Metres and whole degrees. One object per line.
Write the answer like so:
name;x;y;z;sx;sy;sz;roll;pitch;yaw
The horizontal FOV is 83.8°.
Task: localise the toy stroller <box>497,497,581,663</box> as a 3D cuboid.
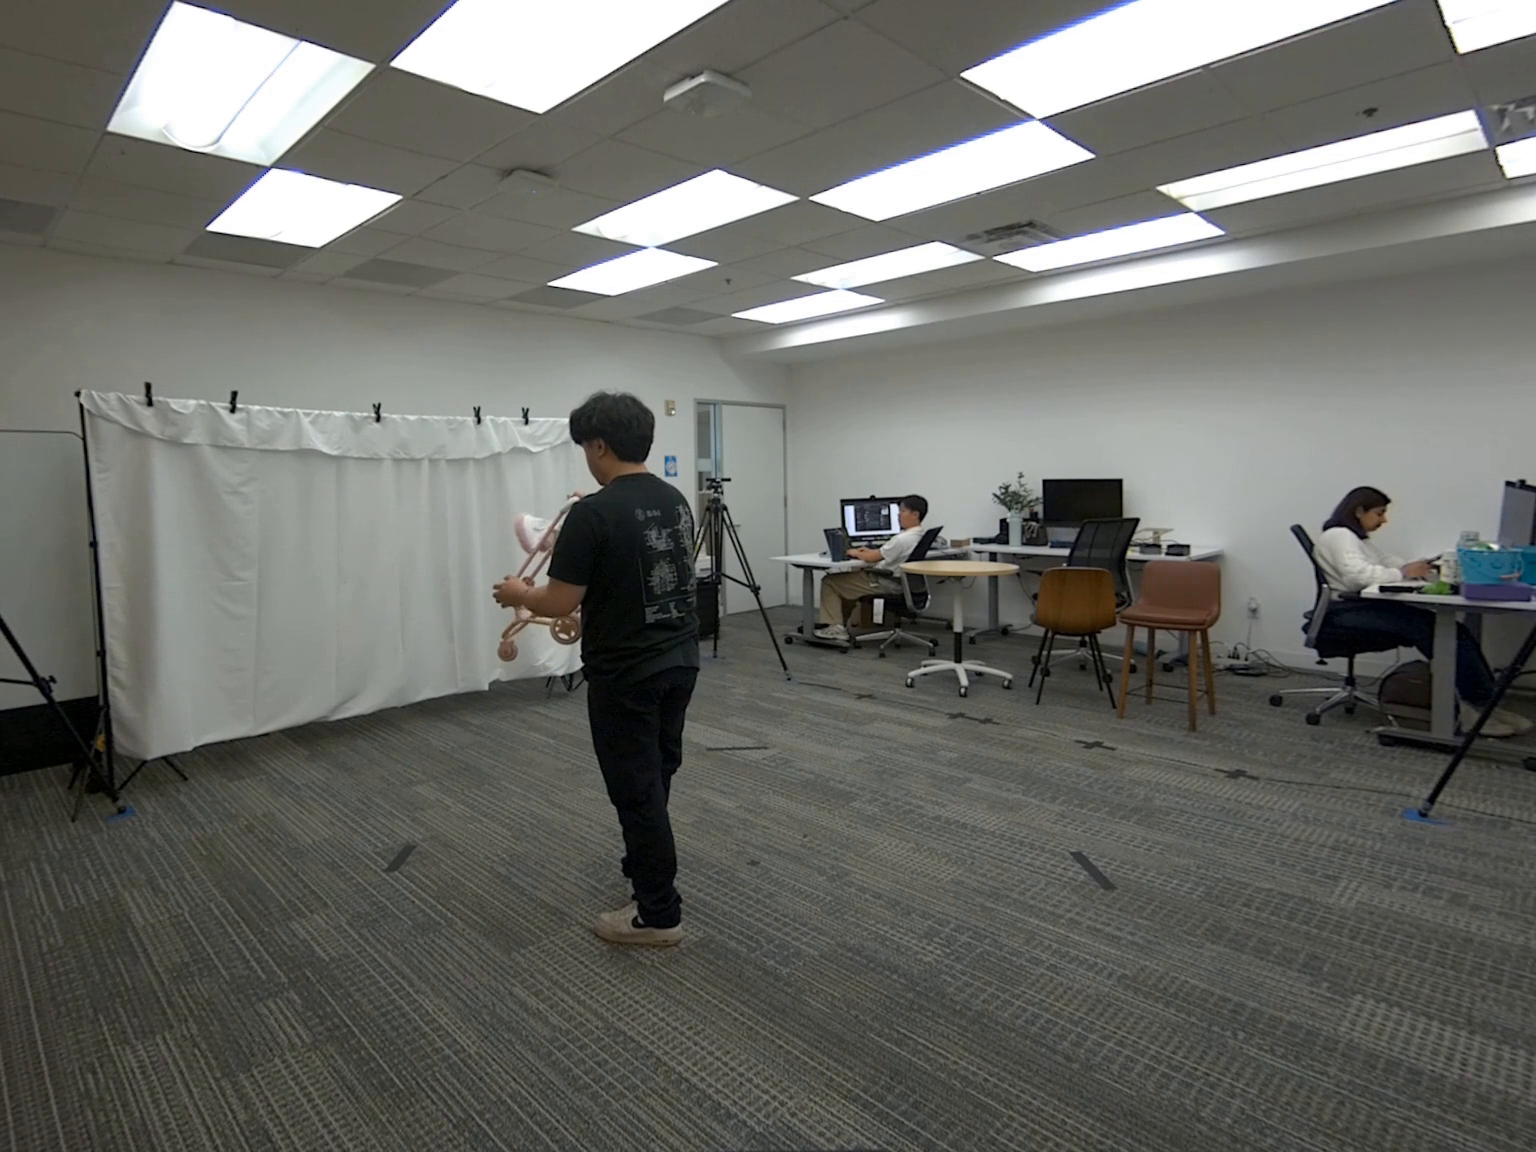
toy stroller;-0.777;0.012;2.912;0.343;0.535;0.280;-6;0;6
